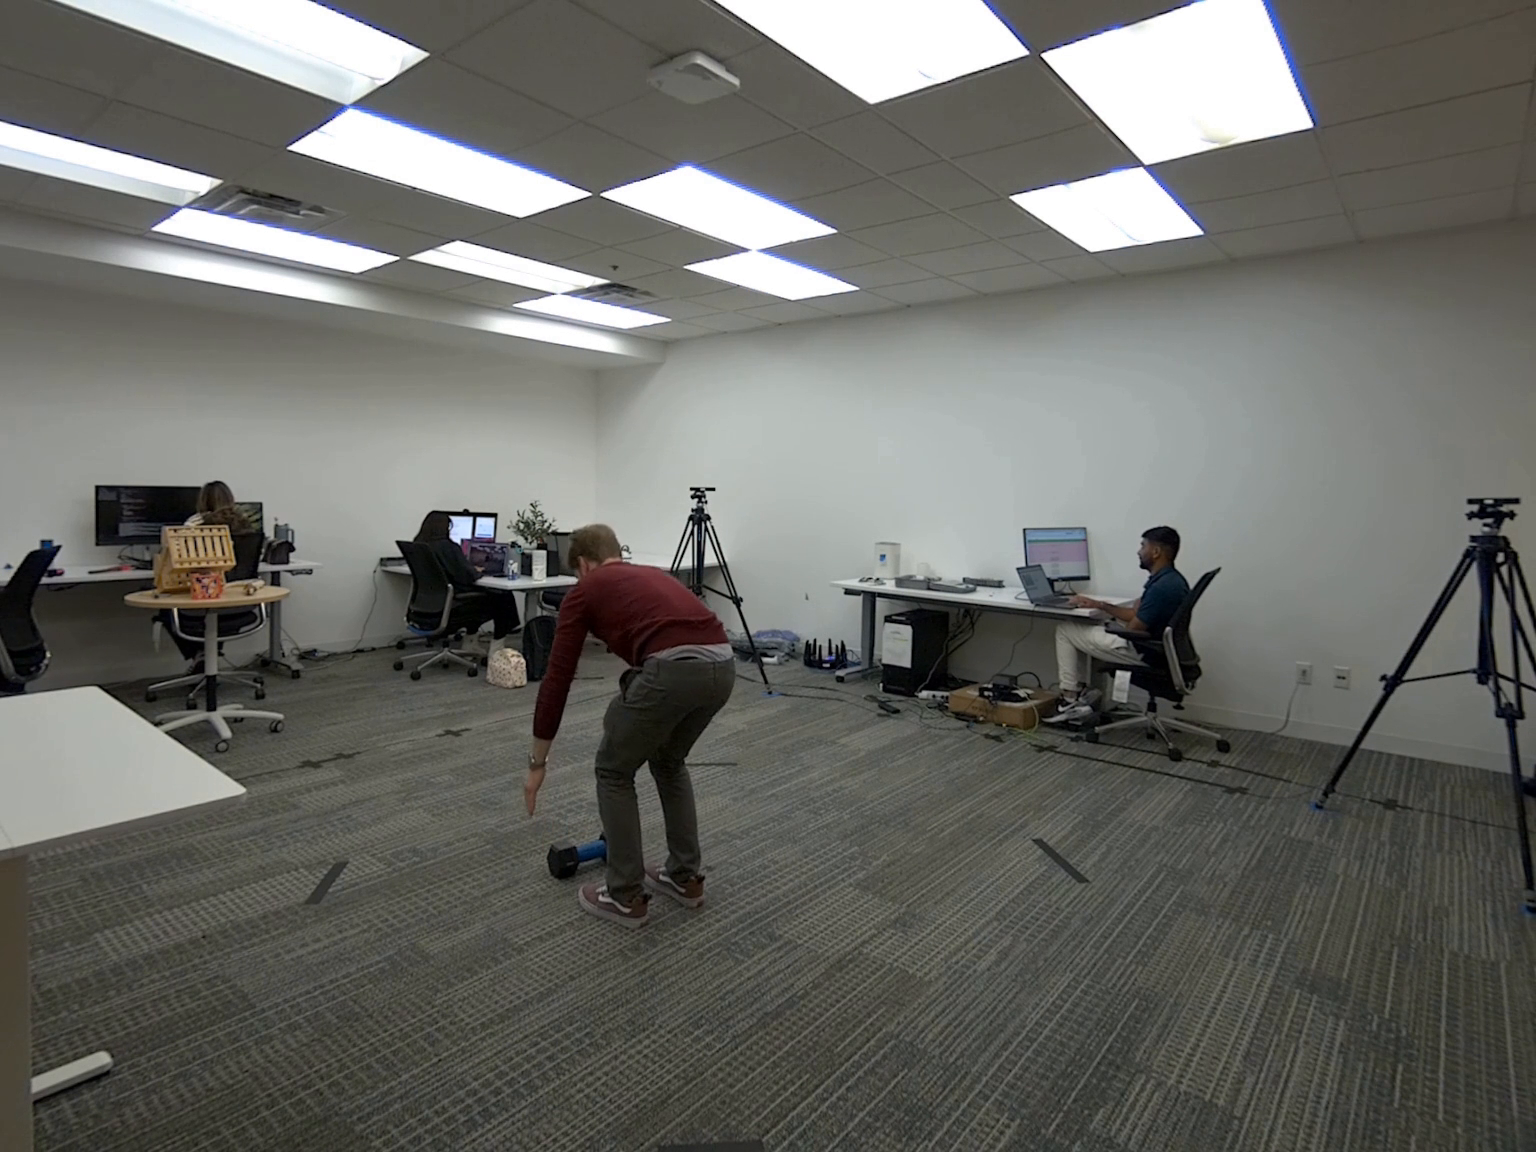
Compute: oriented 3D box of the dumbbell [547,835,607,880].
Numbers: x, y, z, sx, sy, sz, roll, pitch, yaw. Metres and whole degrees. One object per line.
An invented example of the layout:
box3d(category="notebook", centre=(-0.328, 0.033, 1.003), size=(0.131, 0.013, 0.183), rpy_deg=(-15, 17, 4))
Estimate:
box3d(category="dumbbell", centre=(-0.659, 1.002, 3.097), size=(0.285, 0.121, 0.113), rpy_deg=(-5, 34, -37))
